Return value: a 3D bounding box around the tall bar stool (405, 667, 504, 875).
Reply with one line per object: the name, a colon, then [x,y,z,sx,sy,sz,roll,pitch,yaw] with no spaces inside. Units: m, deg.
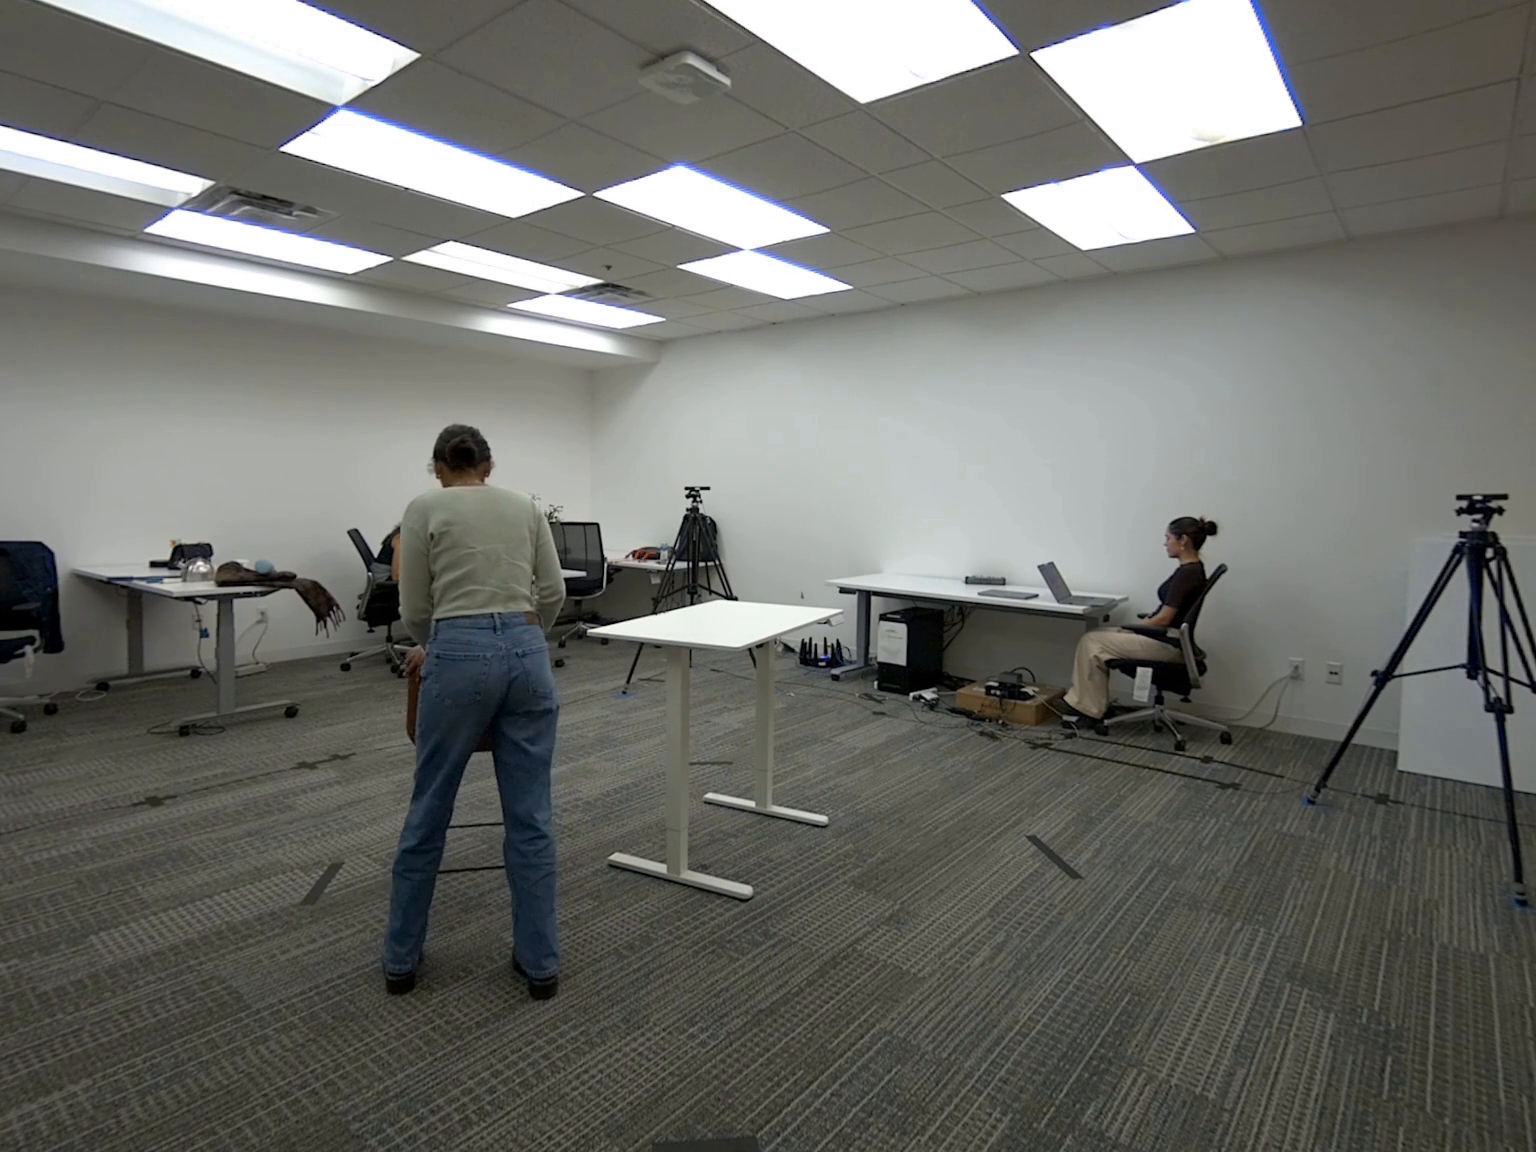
tall bar stool: [-0.996,0.635,2.914,0.451,0.886,0.476,0,5,-13]
